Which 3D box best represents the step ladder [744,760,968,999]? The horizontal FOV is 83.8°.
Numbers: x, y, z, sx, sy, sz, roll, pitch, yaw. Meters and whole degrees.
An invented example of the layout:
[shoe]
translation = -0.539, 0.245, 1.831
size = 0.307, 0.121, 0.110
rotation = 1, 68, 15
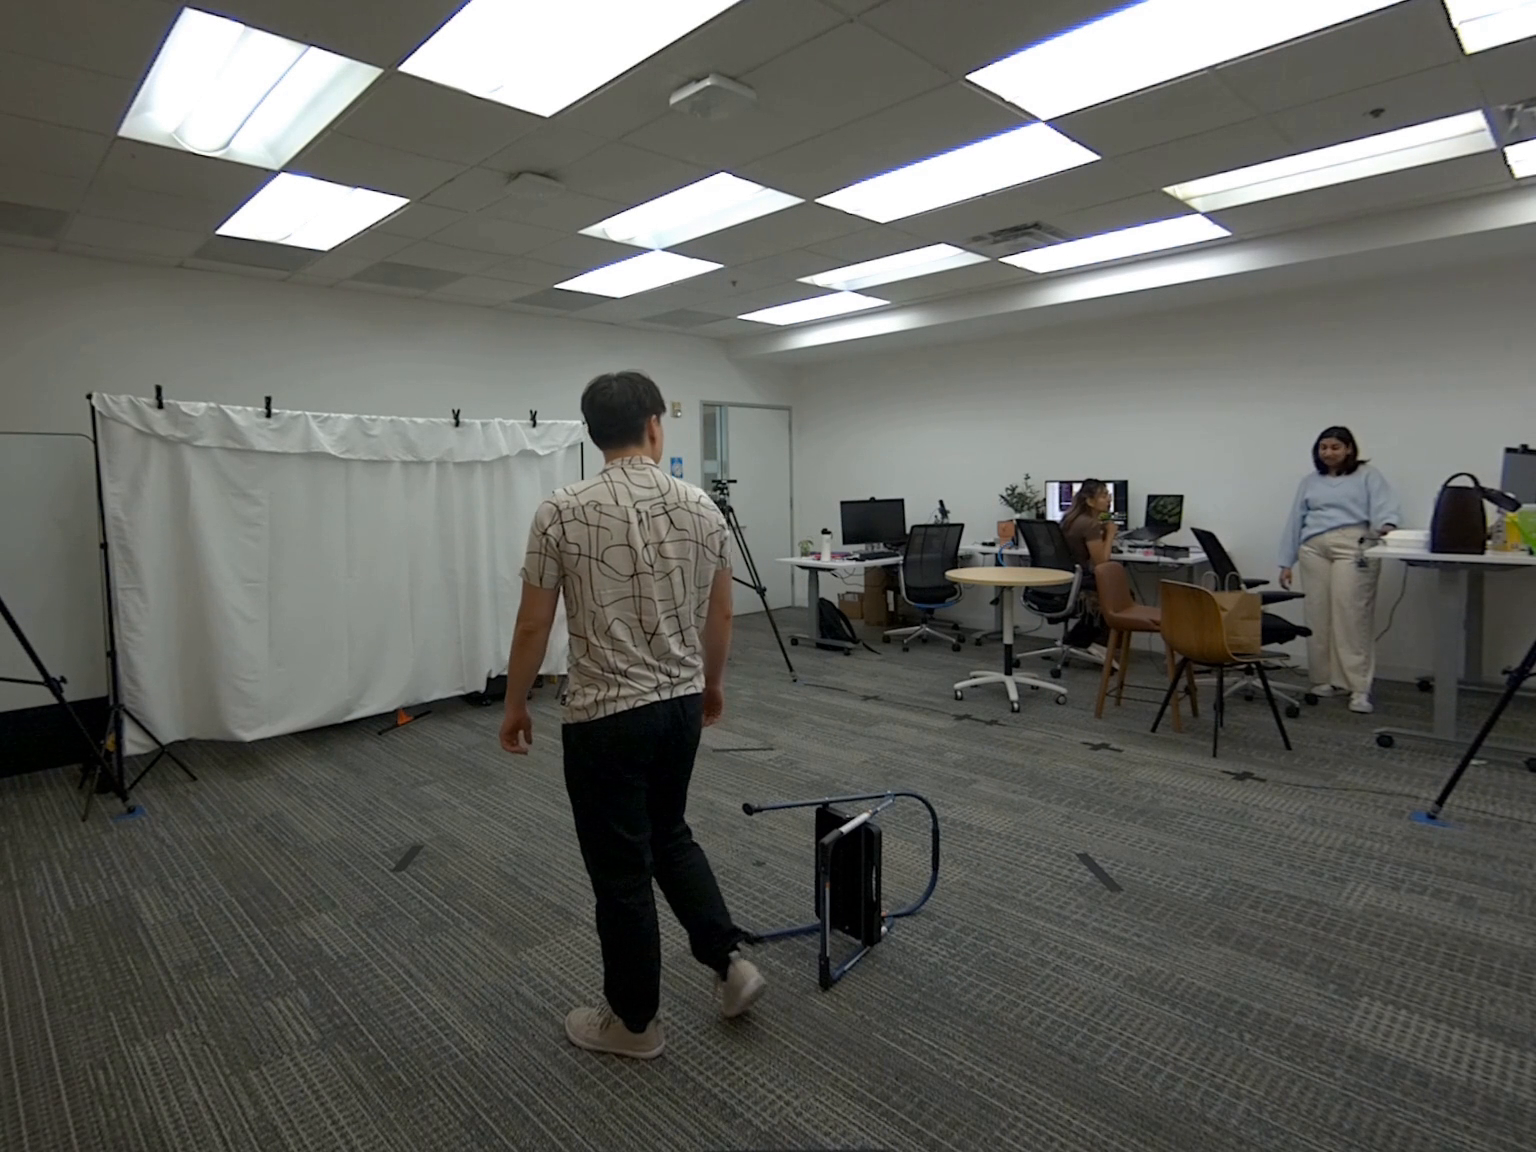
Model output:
[step ladder]
translation = 0.273, 0.887, 2.627
size = 0.590, 0.429, 0.360
rotation = -5, 7, -39
